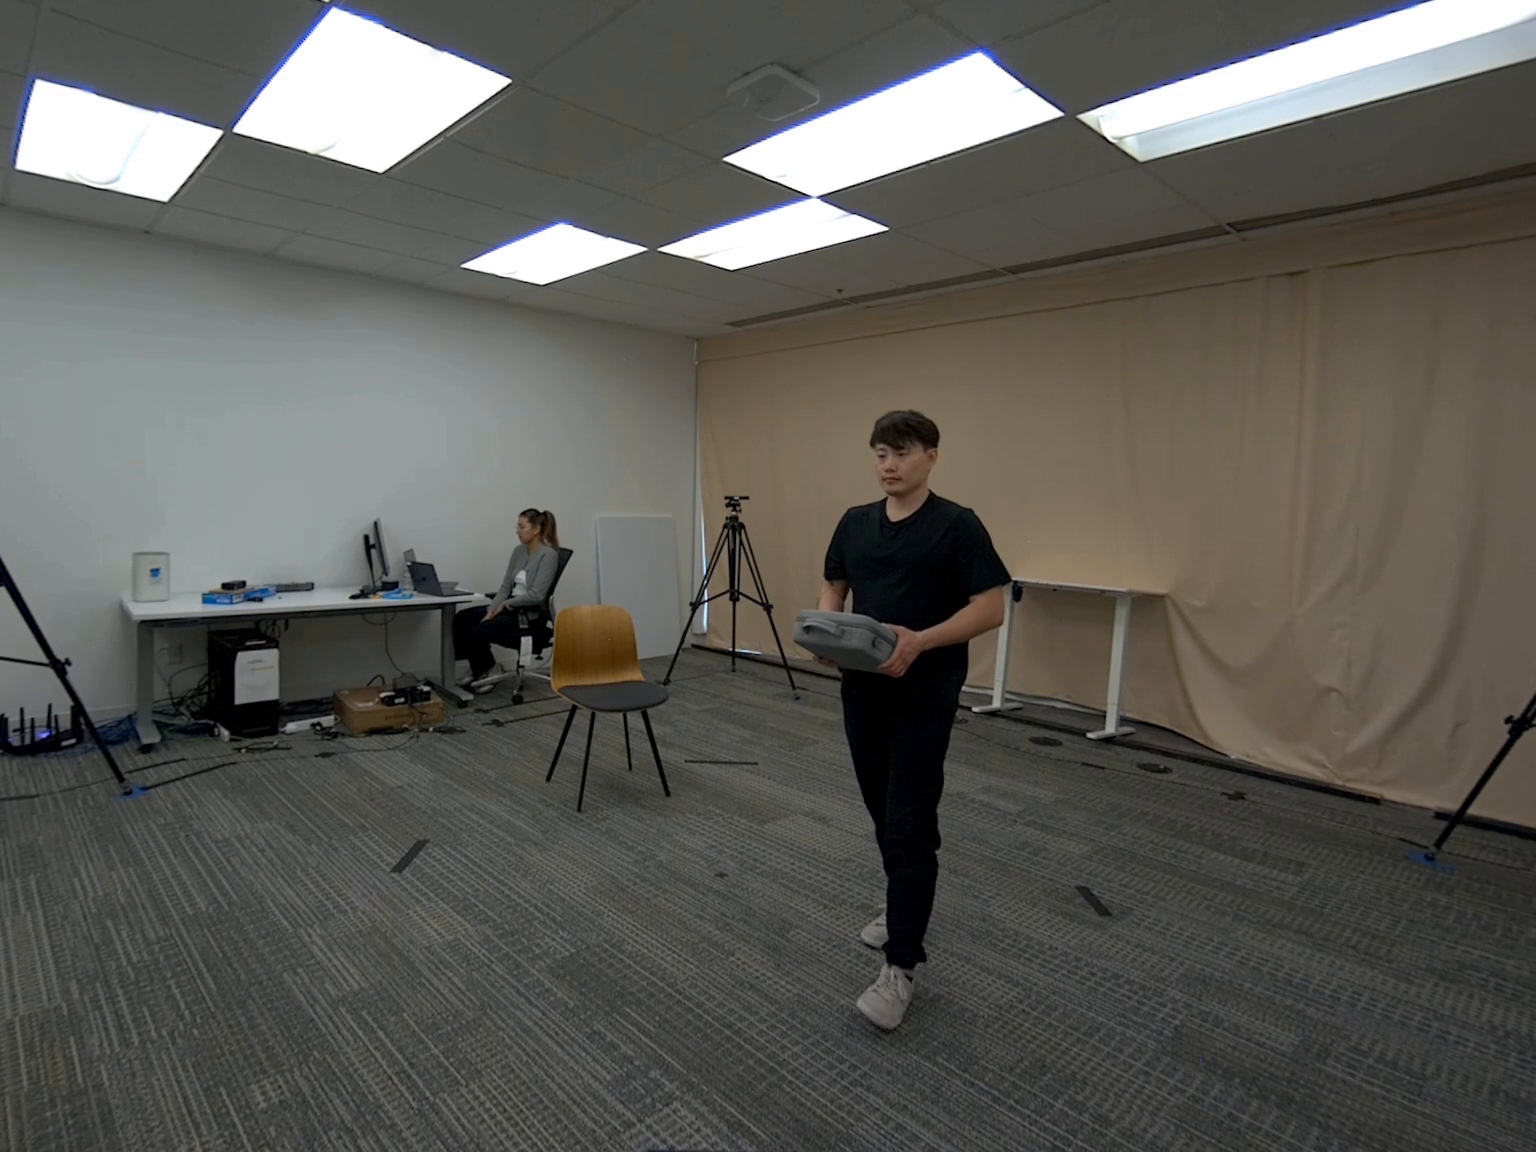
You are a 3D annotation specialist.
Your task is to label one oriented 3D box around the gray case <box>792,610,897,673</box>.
[{"bbox_3d":[0.222,0.174,2.338,0.263,0.105,0.252,3,-16,42],"label":"gray case"}]
